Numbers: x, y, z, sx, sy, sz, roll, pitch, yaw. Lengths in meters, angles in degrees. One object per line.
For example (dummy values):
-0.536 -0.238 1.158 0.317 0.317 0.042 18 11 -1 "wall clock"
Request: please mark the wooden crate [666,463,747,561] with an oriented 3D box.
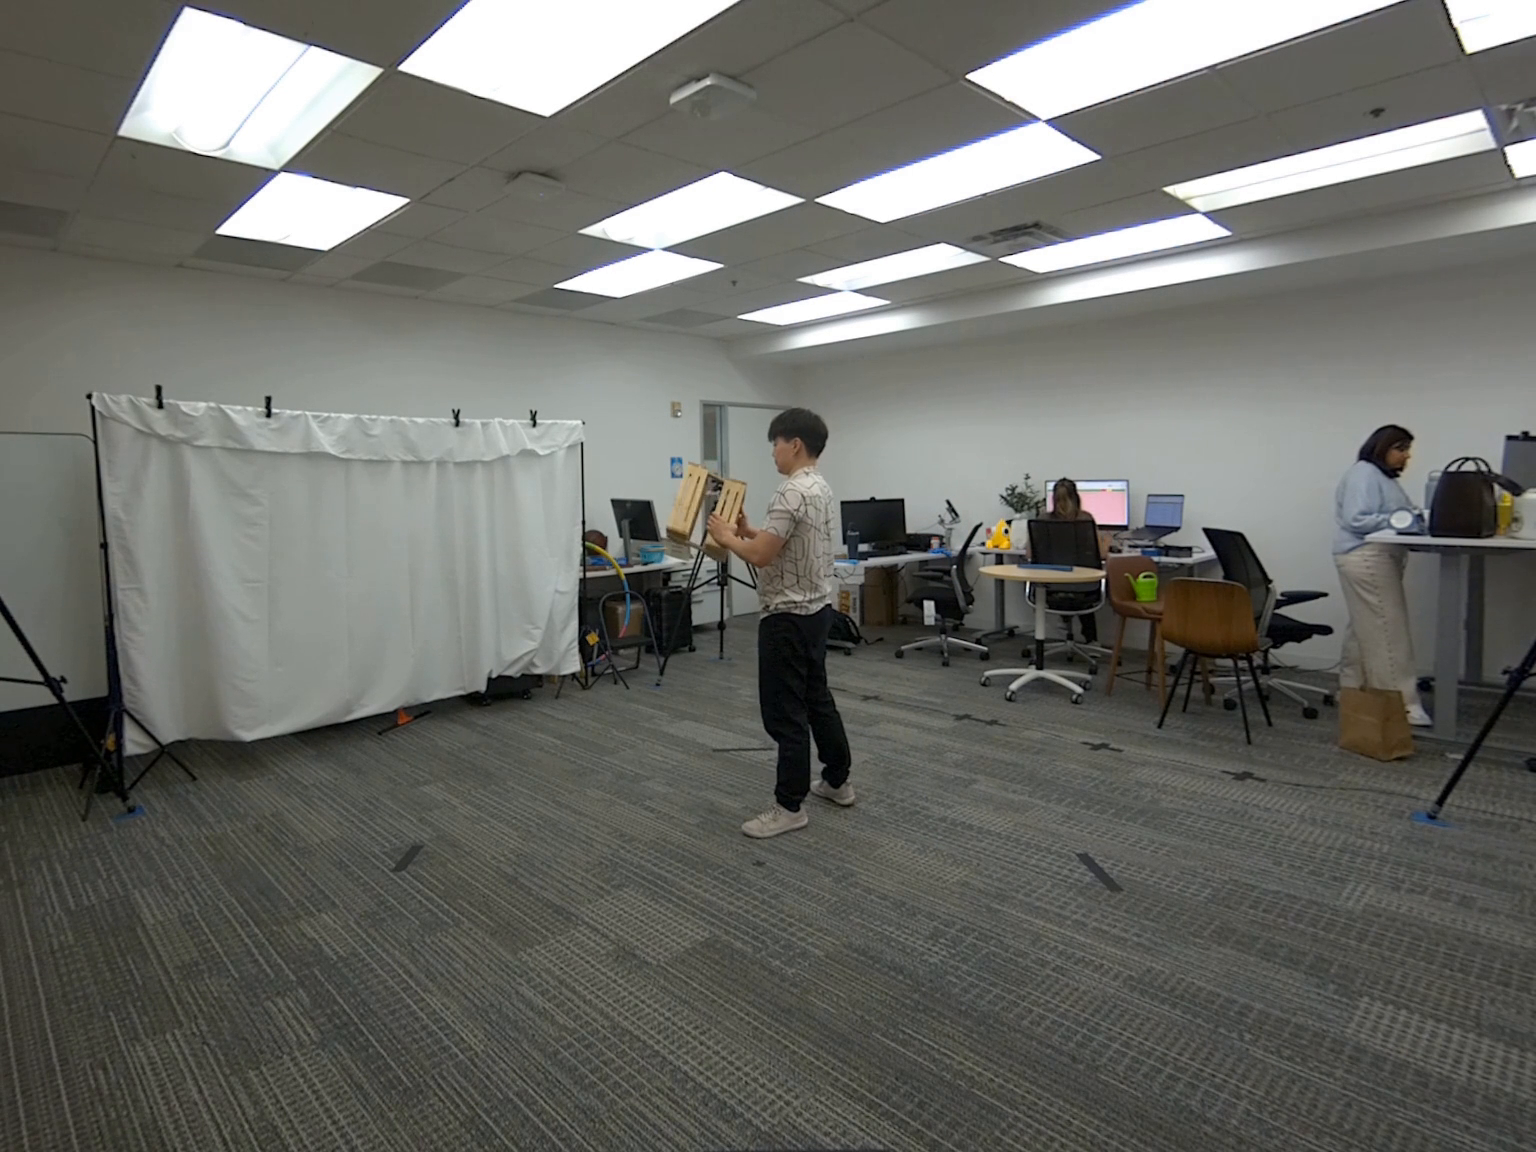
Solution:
-0.262 -0.273 3.644 0.273 0.327 0.300 18 -13 -1 "wooden crate"
